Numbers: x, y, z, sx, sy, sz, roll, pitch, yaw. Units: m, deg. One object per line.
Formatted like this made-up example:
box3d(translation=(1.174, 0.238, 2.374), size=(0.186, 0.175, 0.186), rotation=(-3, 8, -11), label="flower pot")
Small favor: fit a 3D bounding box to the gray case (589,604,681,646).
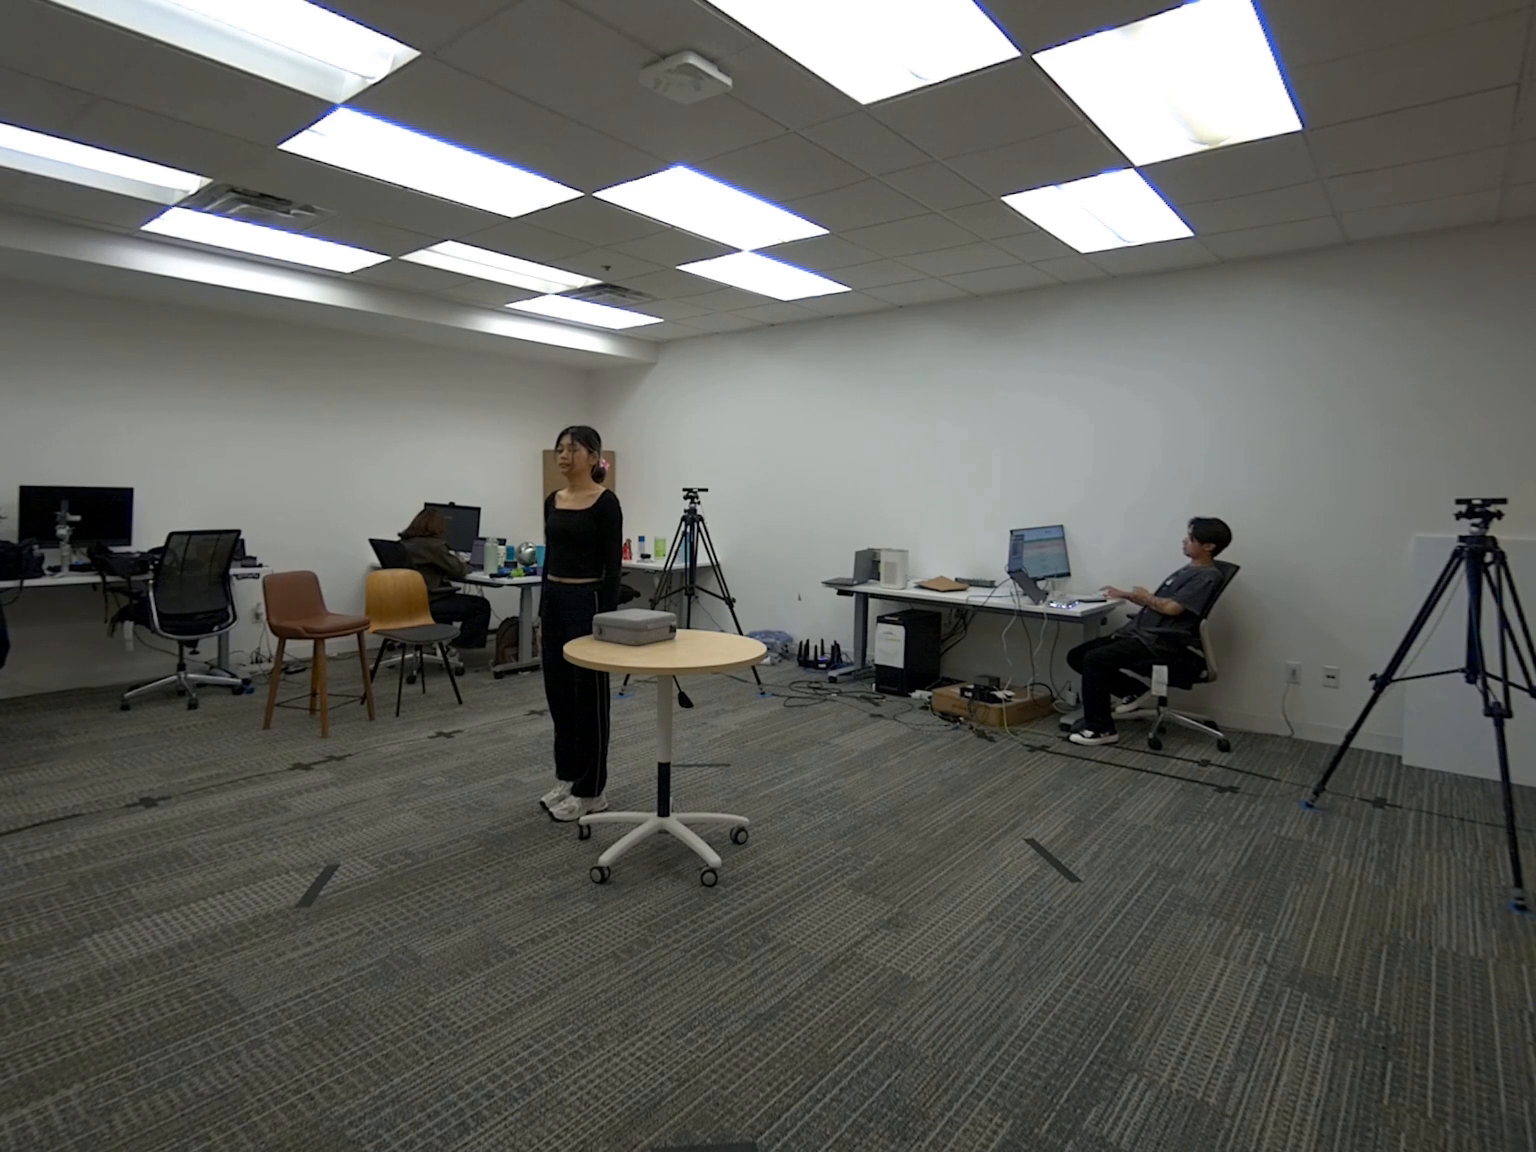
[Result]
box3d(translation=(-0.533, 0.189, 3.357), size=(0.269, 0.104, 0.250), rotation=(3, 7, 37), label="gray case")
